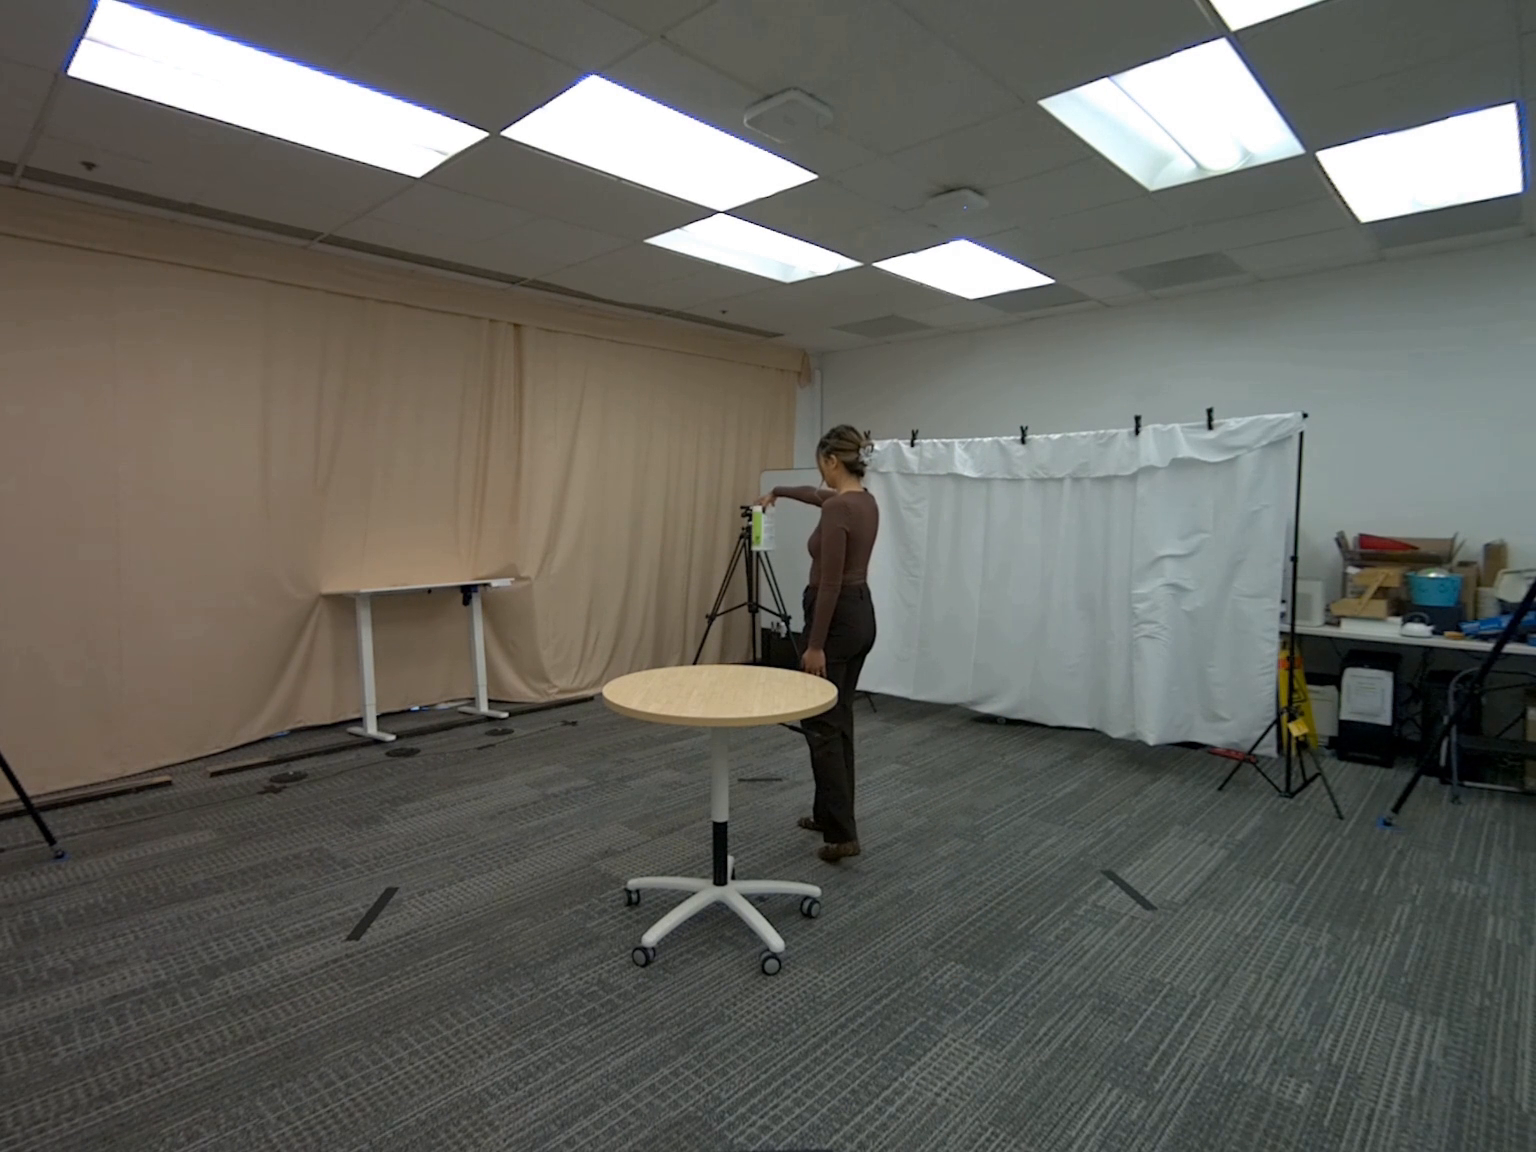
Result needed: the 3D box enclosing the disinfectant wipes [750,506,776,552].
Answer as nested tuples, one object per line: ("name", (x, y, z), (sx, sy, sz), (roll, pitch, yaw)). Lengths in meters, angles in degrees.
("disinfectant wipes", (-0.021, -0.223, 4.043), (0.118, 0.217, 0.118), (3, 0, -2))
